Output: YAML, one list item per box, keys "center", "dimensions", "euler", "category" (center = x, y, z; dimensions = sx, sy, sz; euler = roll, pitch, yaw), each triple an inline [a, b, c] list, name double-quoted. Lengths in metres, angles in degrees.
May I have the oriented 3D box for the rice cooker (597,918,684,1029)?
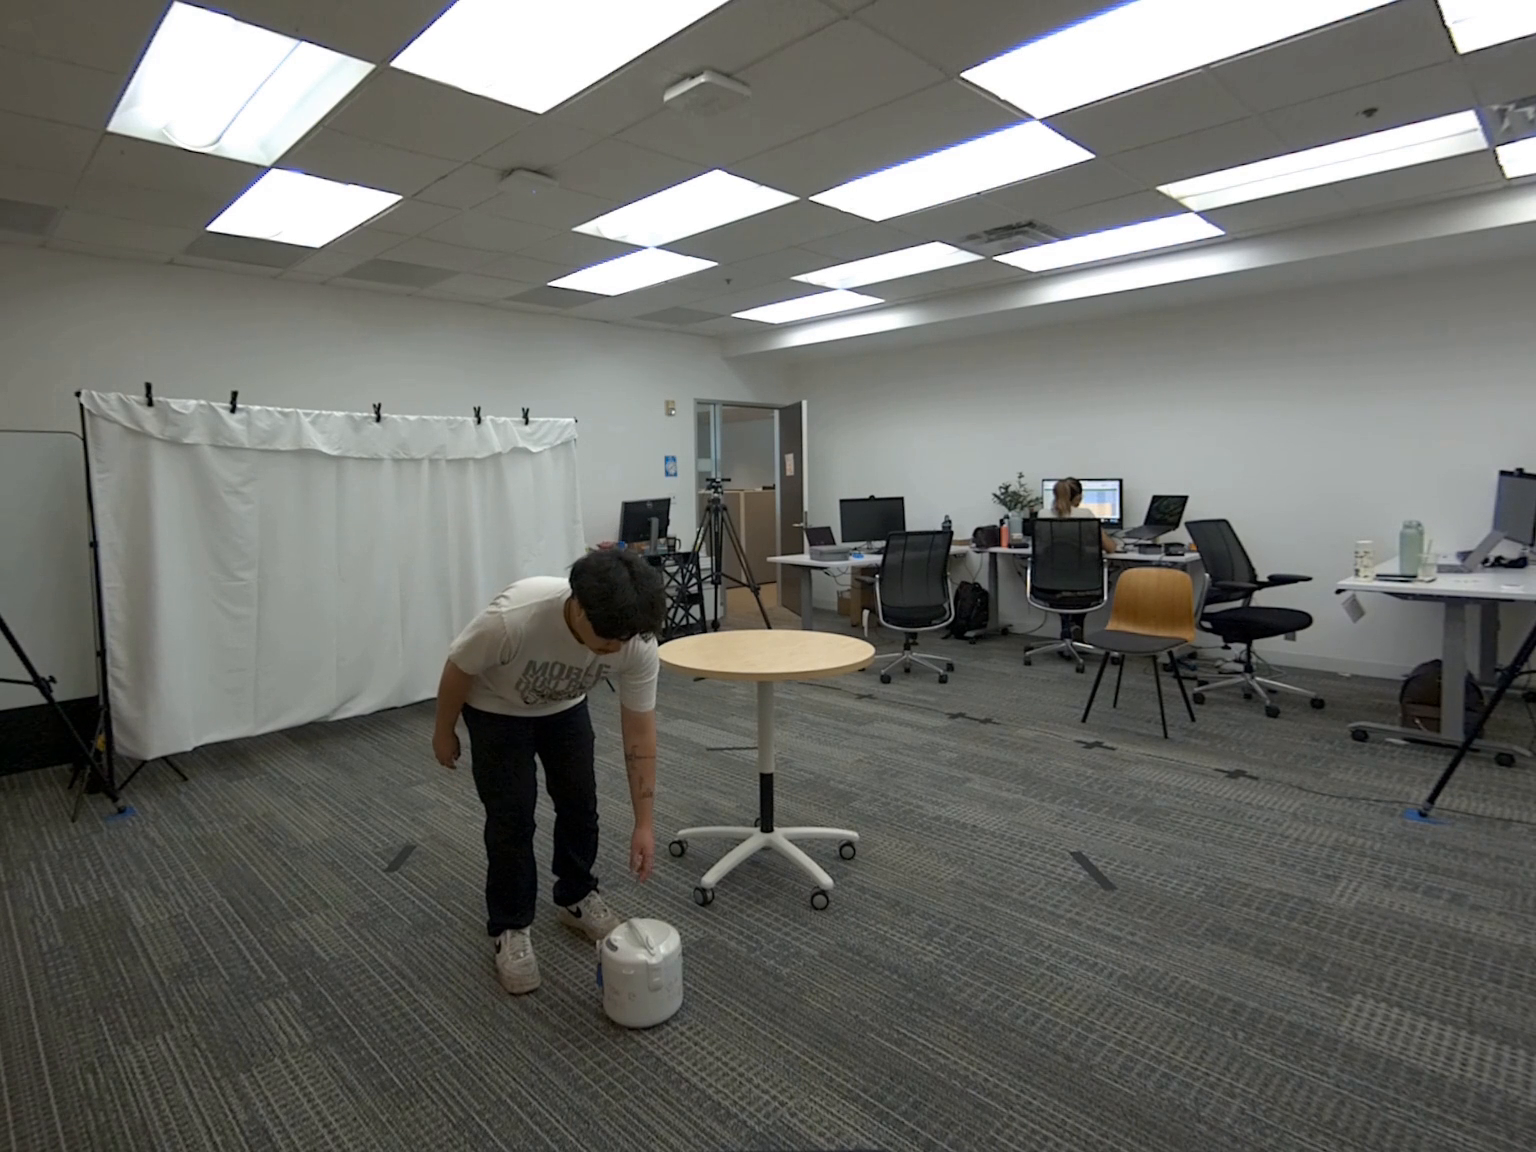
- center: [-0.322, 1.035, 2.254]
  dimensions: [0.213, 0.232, 0.226]
  euler: [-4, 5, -25]
  category: "rice cooker"
